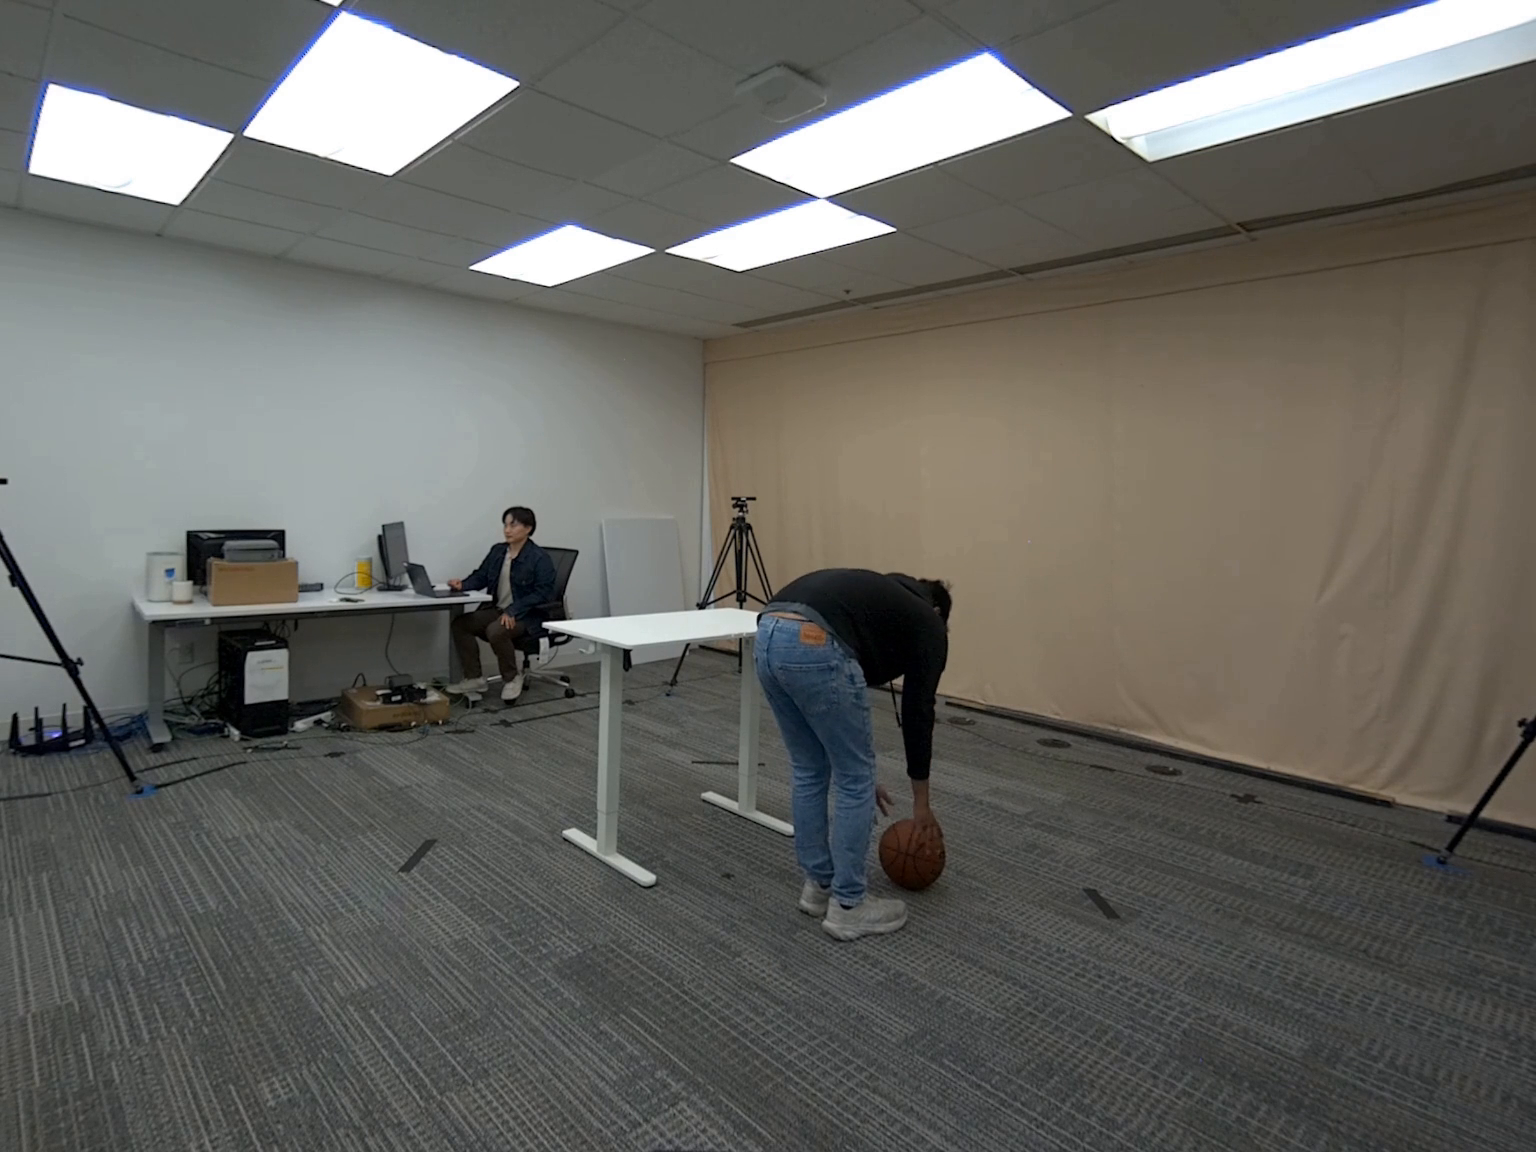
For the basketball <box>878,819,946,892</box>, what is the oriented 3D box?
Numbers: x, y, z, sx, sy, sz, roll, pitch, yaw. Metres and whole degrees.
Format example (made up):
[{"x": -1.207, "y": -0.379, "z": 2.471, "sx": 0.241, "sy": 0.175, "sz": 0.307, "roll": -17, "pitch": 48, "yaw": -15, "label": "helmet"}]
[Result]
[{"x": 0.523, "y": 1.010, "z": 3.053, "sx": 0.236, "sy": 0.235, "sz": 0.237, "roll": 1, "pitch": 4, "yaw": -1, "label": "basketball"}]
